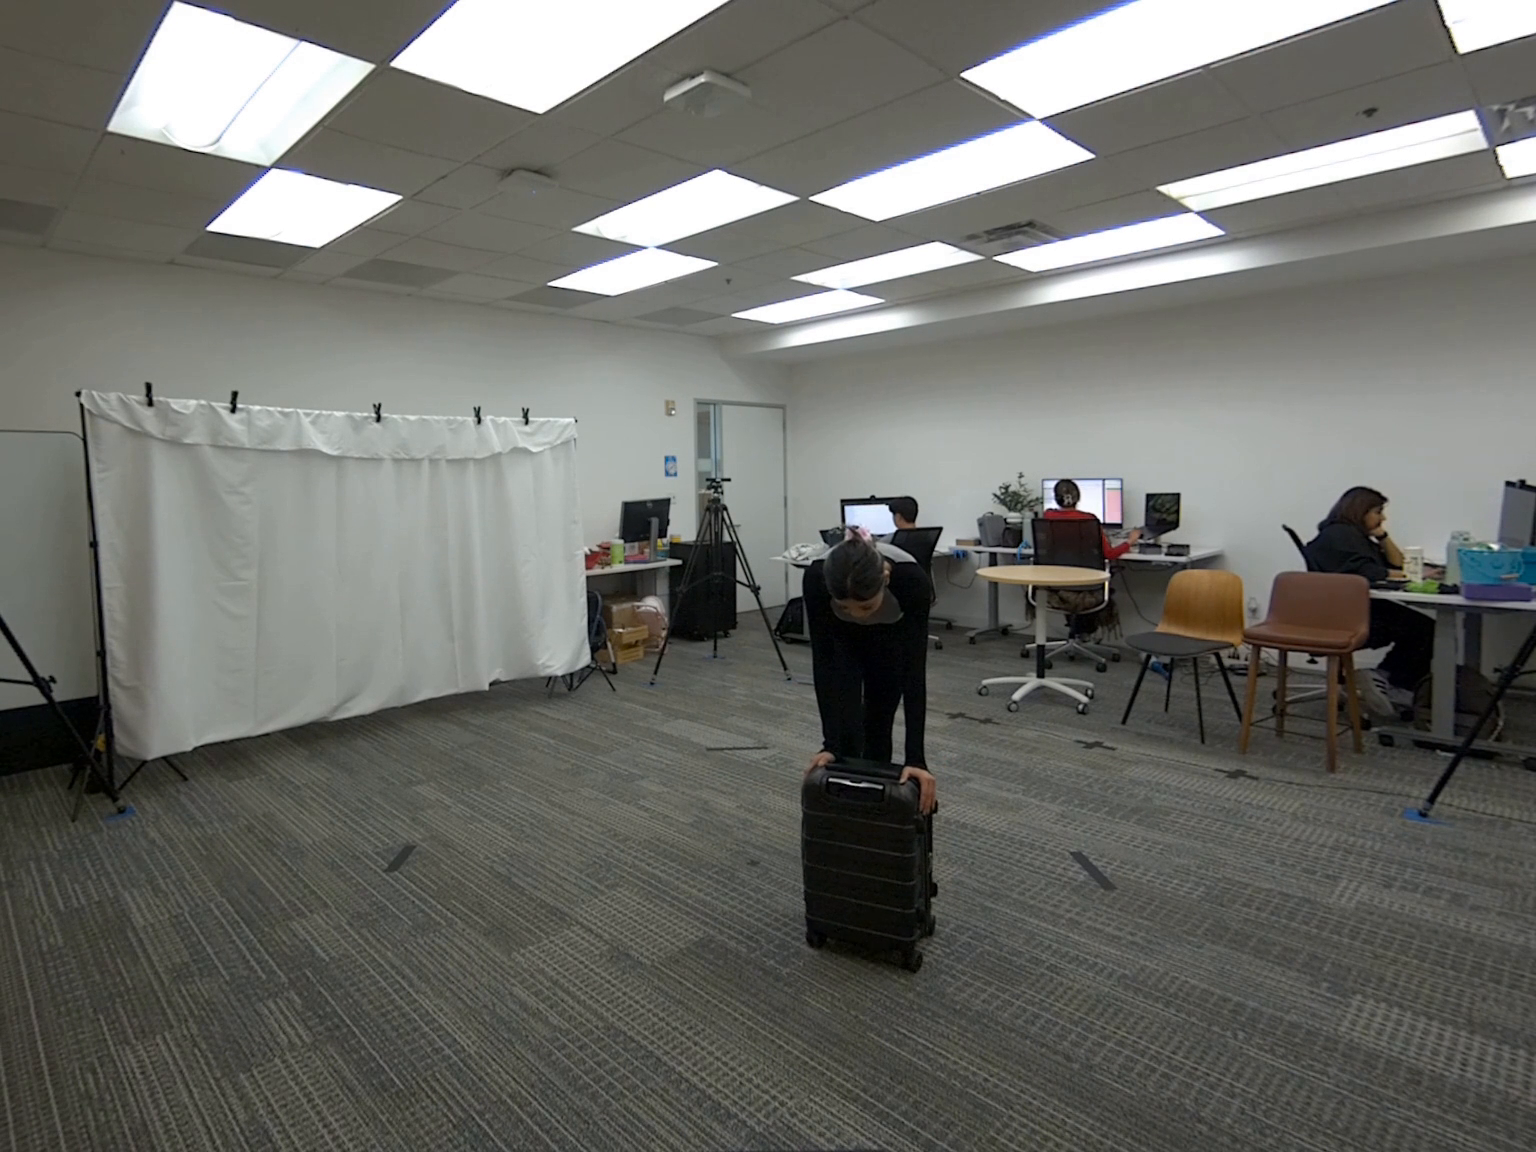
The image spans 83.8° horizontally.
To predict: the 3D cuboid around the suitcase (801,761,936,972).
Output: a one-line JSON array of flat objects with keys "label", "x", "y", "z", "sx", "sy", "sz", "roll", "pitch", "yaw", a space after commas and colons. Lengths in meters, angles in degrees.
[{"label": "suitcase", "x": 0.298, "y": 0.833, "z": 2.545, "sx": 0.384, "sy": 0.546, "sz": 0.244, "roll": 0, "pitch": 6, "yaw": 27}]
